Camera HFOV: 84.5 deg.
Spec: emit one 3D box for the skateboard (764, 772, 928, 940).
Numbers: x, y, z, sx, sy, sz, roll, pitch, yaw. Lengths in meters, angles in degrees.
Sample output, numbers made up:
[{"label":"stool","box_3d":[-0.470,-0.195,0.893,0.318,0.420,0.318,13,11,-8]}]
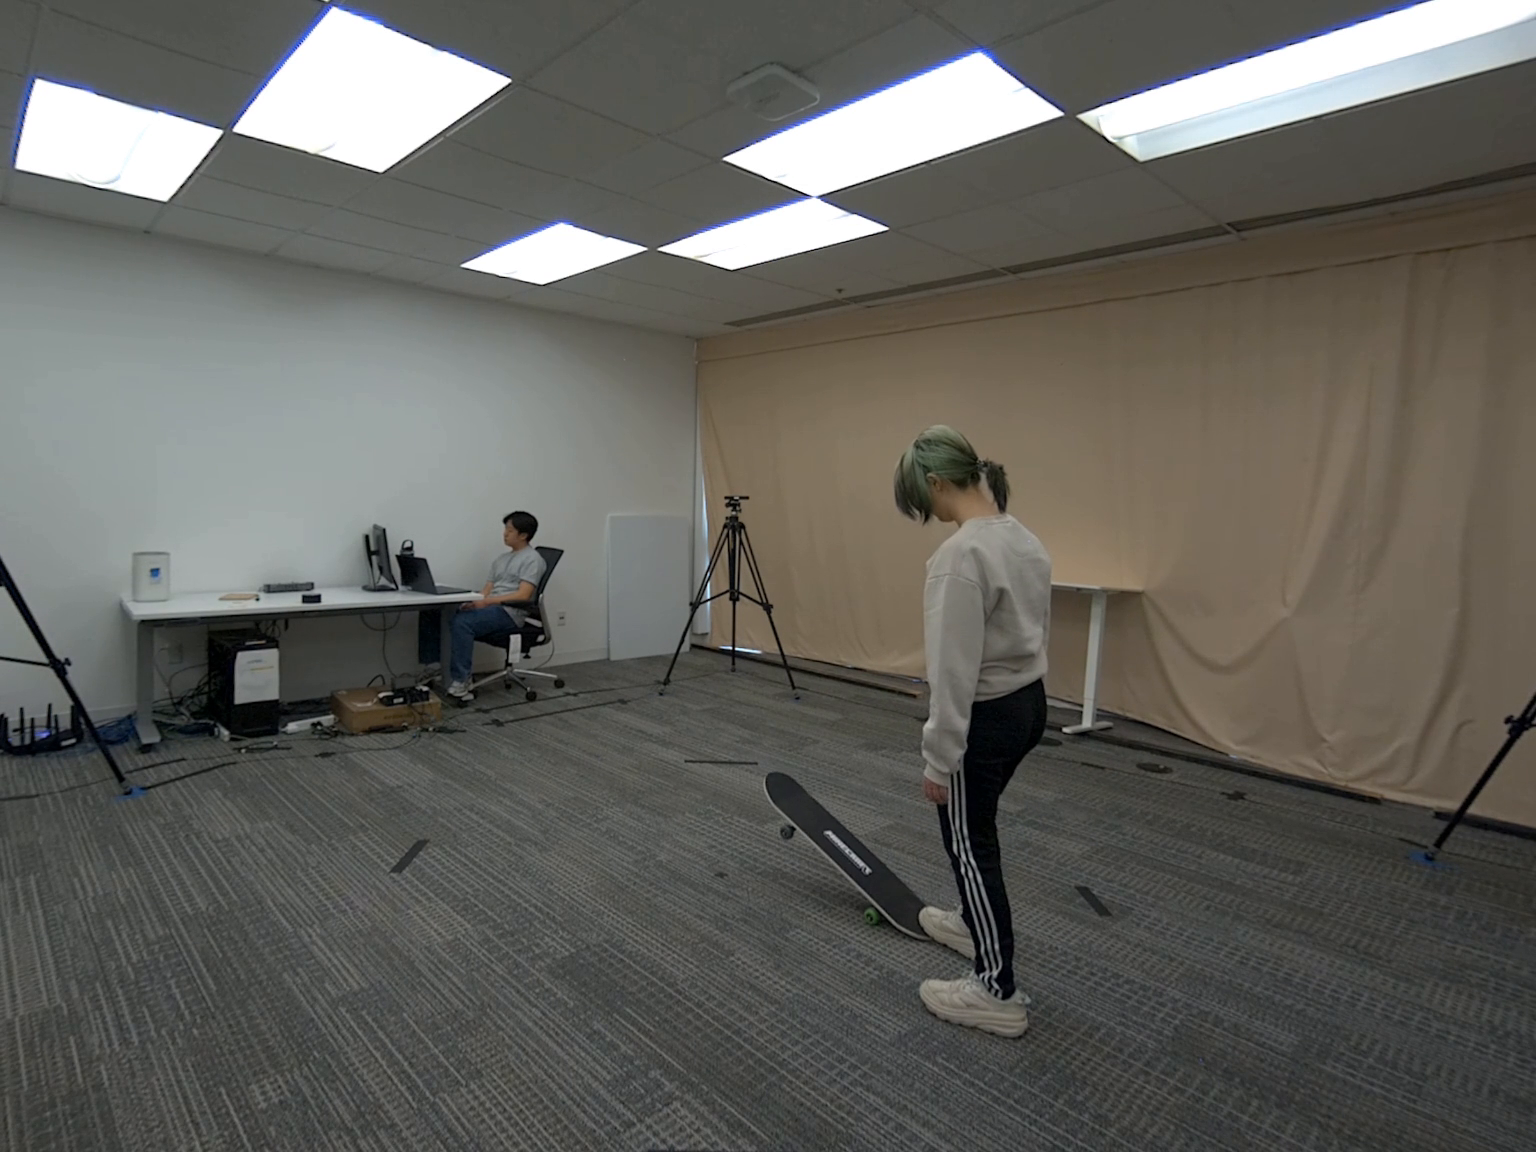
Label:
[{"label":"skateboard","box_3d":[0.260,0.990,2.925,0.808,0.109,0.189,38,25,31]}]
